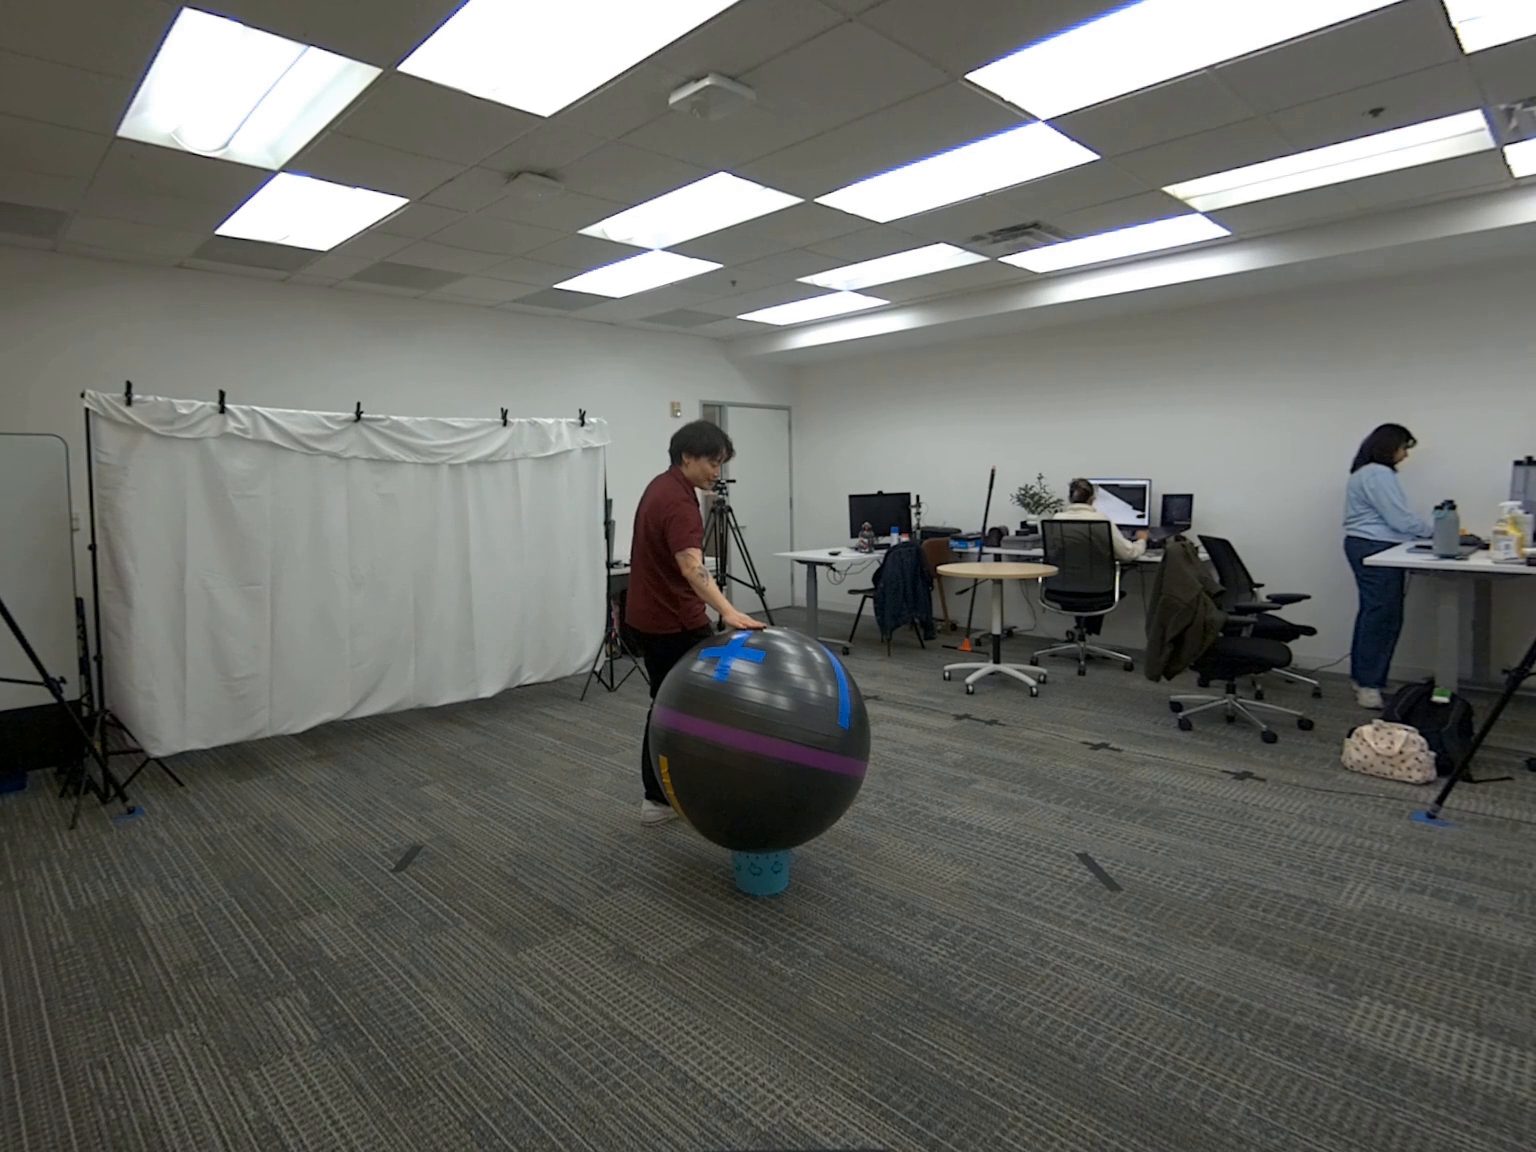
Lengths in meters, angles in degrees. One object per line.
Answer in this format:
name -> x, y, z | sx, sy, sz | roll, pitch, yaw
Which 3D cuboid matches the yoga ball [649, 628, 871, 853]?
yoga ball -> -0.027, 0.556, 2.950 | 0.757, 0.755, 0.762 | -1, 5, -2
